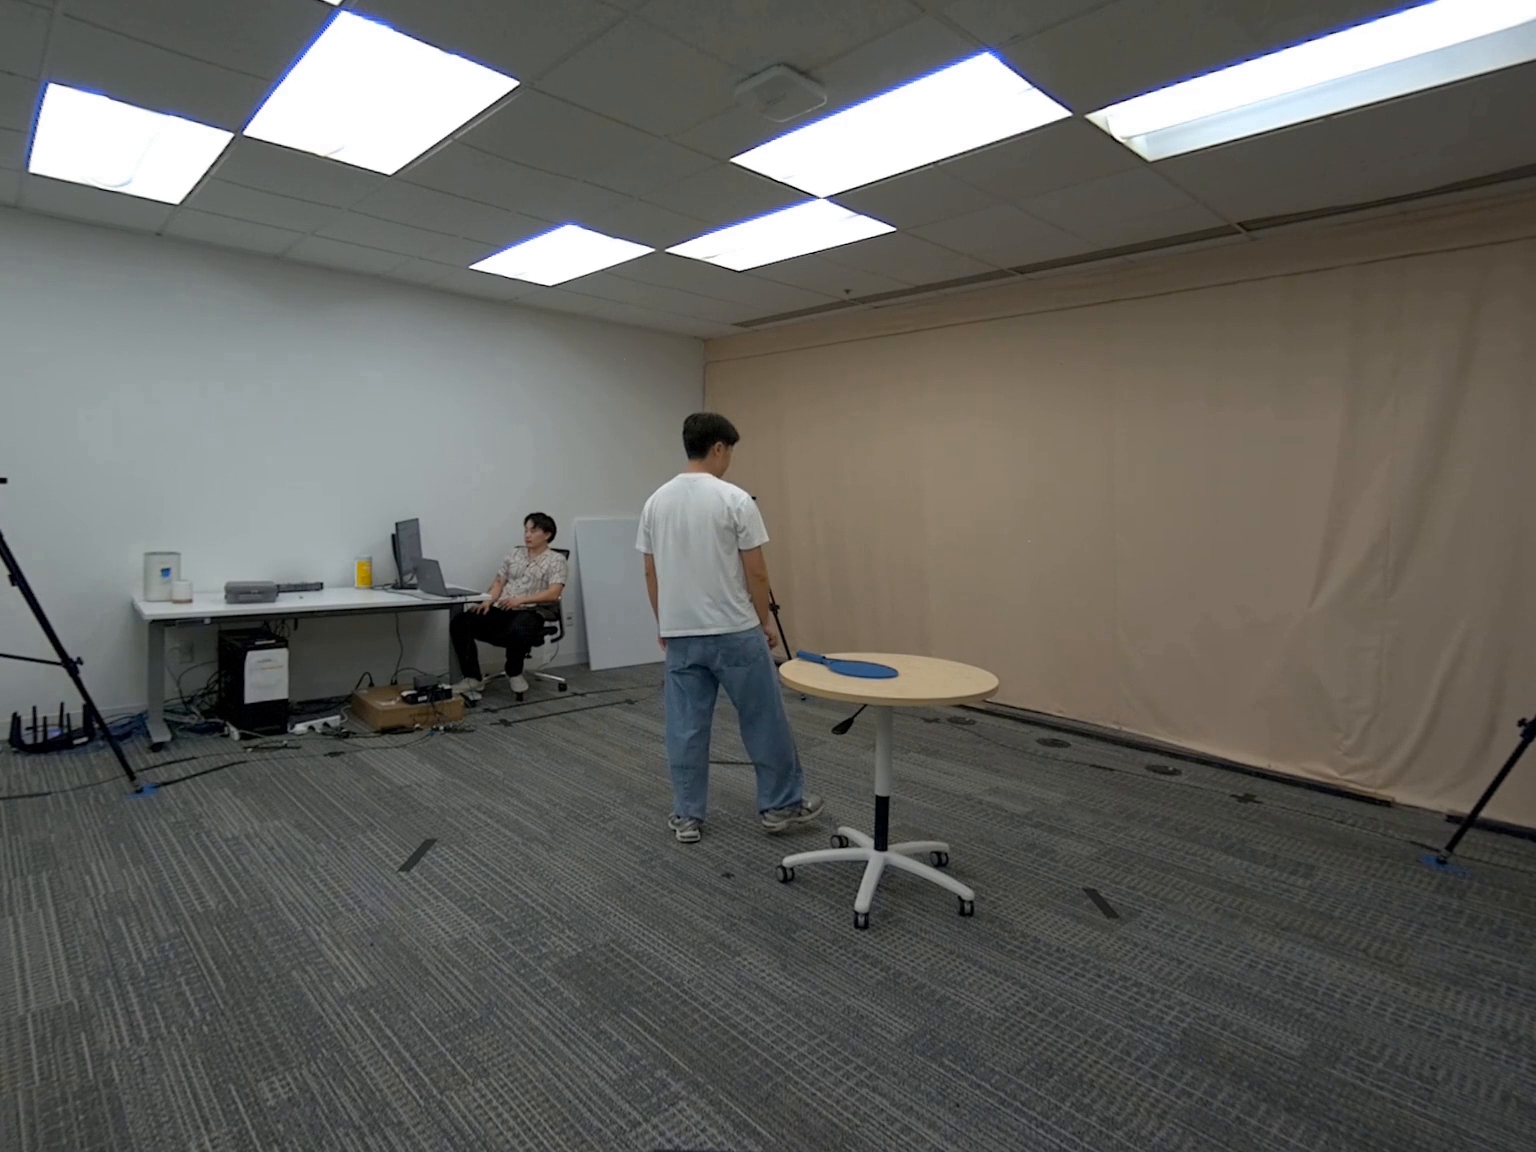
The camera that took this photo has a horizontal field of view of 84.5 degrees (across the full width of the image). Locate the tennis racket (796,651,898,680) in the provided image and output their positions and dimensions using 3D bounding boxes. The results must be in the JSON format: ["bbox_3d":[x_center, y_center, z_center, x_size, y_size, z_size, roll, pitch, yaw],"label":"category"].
[{"bbox_3d":[0.274,0.327,3.073,0.209,0.031,0.444,-4,9,-44],"label":"tennis racket"}]
